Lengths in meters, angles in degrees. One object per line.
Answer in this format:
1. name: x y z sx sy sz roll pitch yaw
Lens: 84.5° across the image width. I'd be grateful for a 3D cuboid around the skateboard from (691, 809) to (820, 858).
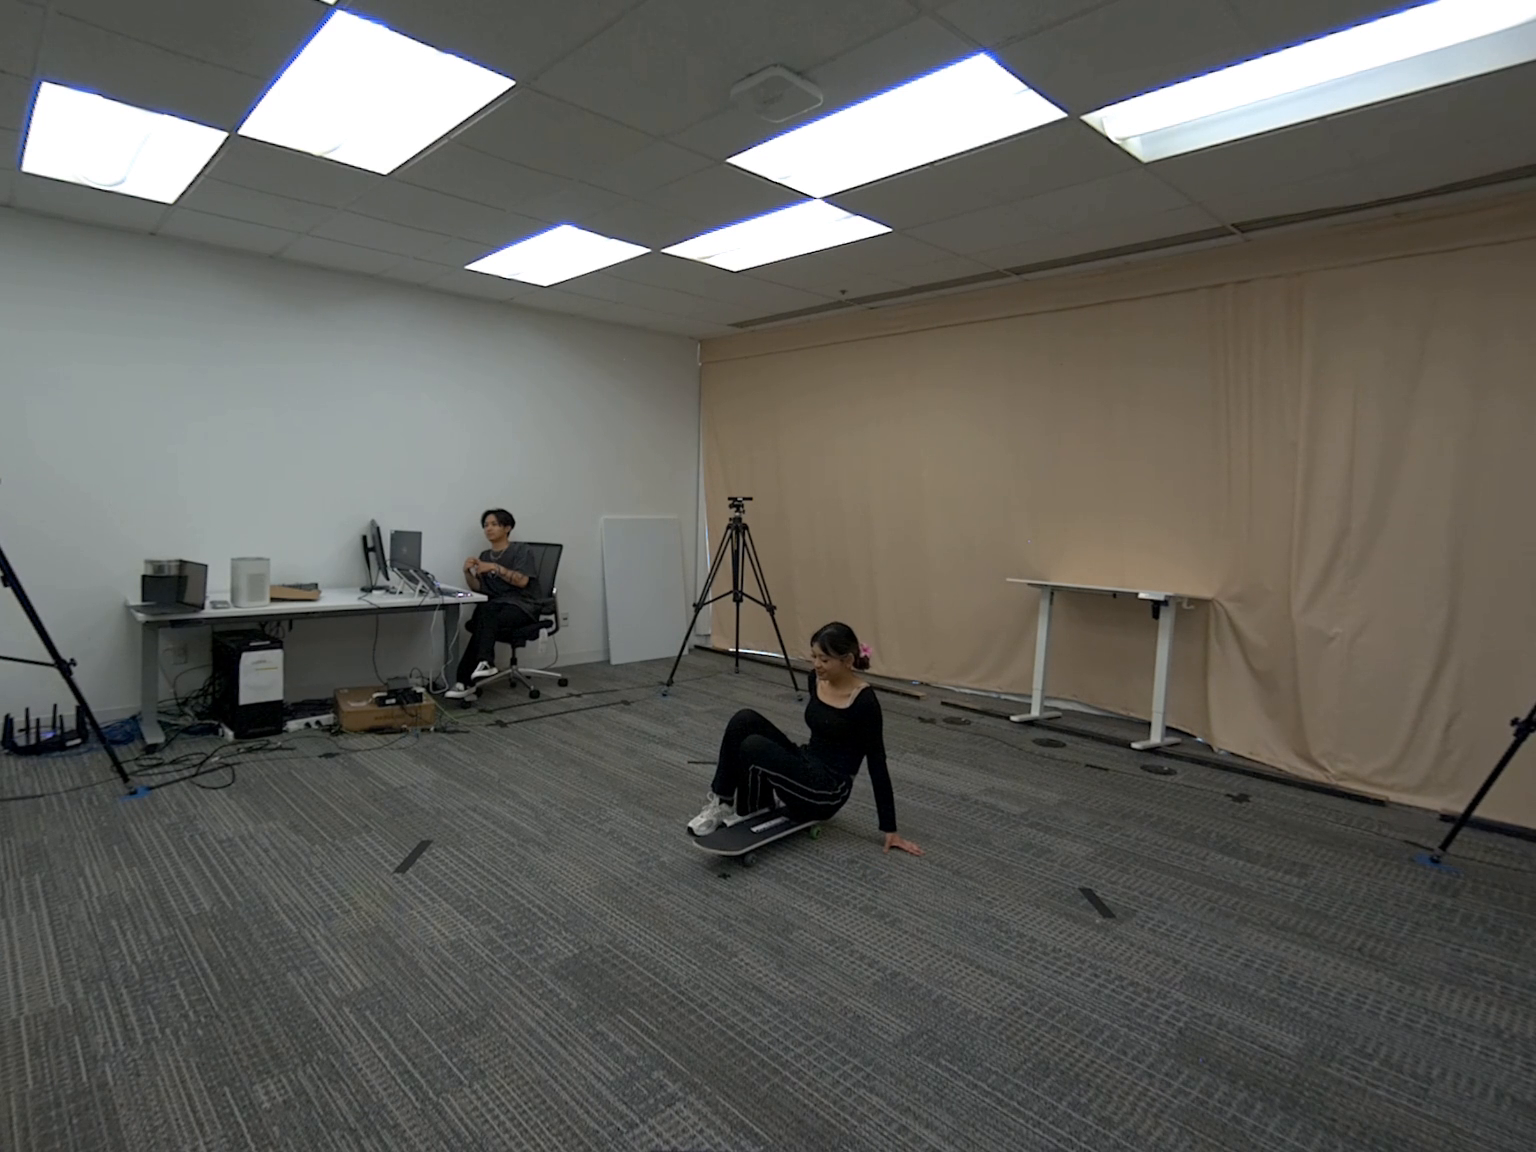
1. skateboard: -0.003 1.032 3.378 0.198 0.110 0.767 8 7 41
